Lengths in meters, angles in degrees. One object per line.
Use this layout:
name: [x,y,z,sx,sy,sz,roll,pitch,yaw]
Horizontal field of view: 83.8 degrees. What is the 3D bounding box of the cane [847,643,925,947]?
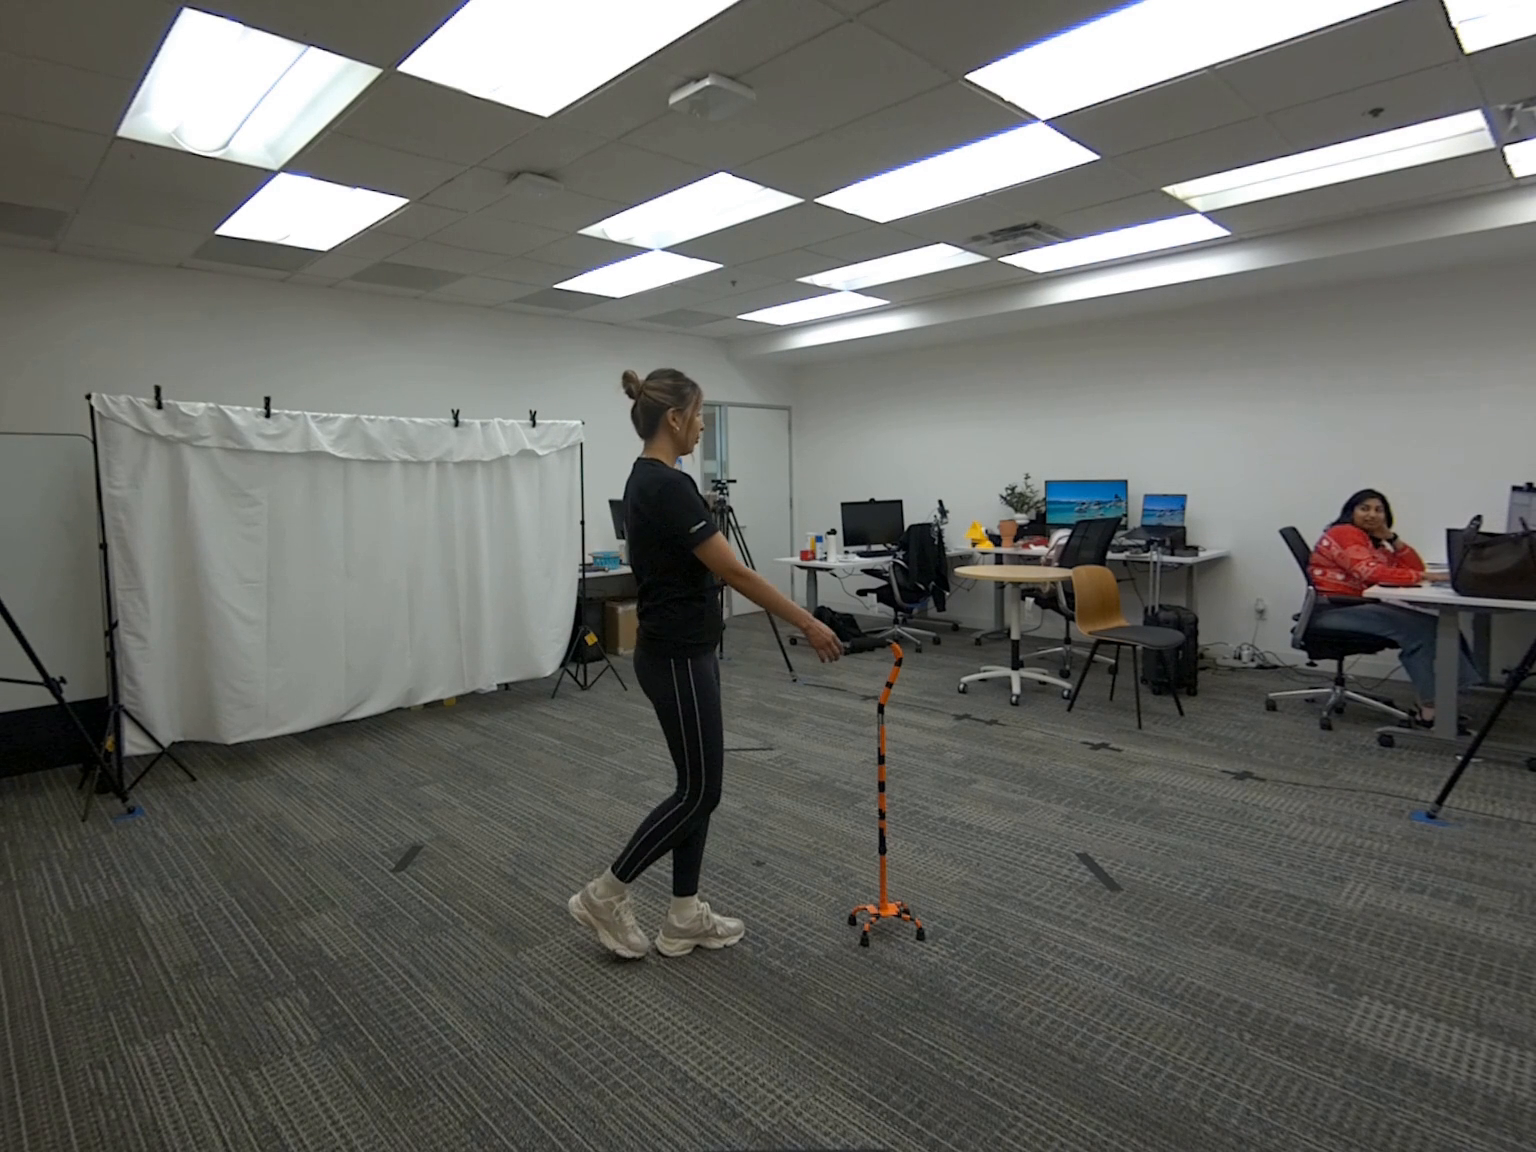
cane: [0.362,0.646,2.602,0.204,0.905,0.154,-2,3,-11]
